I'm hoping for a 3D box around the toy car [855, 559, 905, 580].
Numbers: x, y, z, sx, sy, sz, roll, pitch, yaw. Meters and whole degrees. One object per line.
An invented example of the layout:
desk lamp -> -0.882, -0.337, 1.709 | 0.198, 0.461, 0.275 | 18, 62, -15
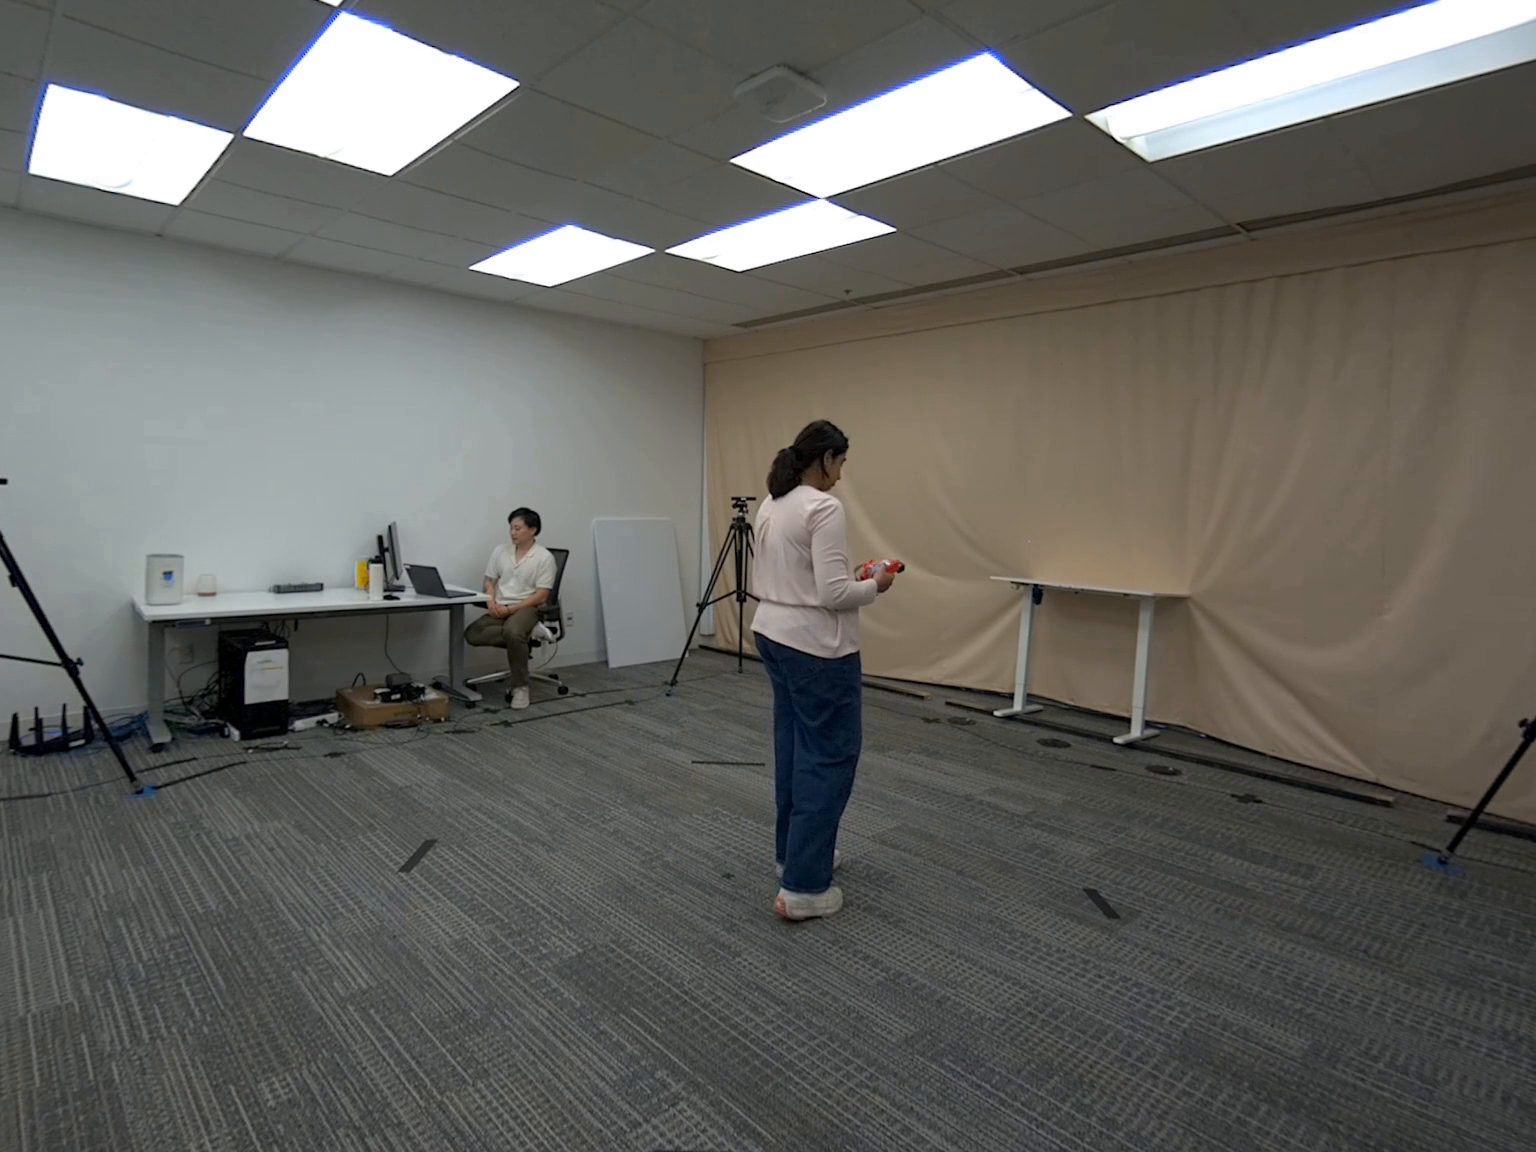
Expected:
toy car -> 0.404, -0.011, 3.127 | 0.130, 0.082, 0.258 | -28, 11, -12
